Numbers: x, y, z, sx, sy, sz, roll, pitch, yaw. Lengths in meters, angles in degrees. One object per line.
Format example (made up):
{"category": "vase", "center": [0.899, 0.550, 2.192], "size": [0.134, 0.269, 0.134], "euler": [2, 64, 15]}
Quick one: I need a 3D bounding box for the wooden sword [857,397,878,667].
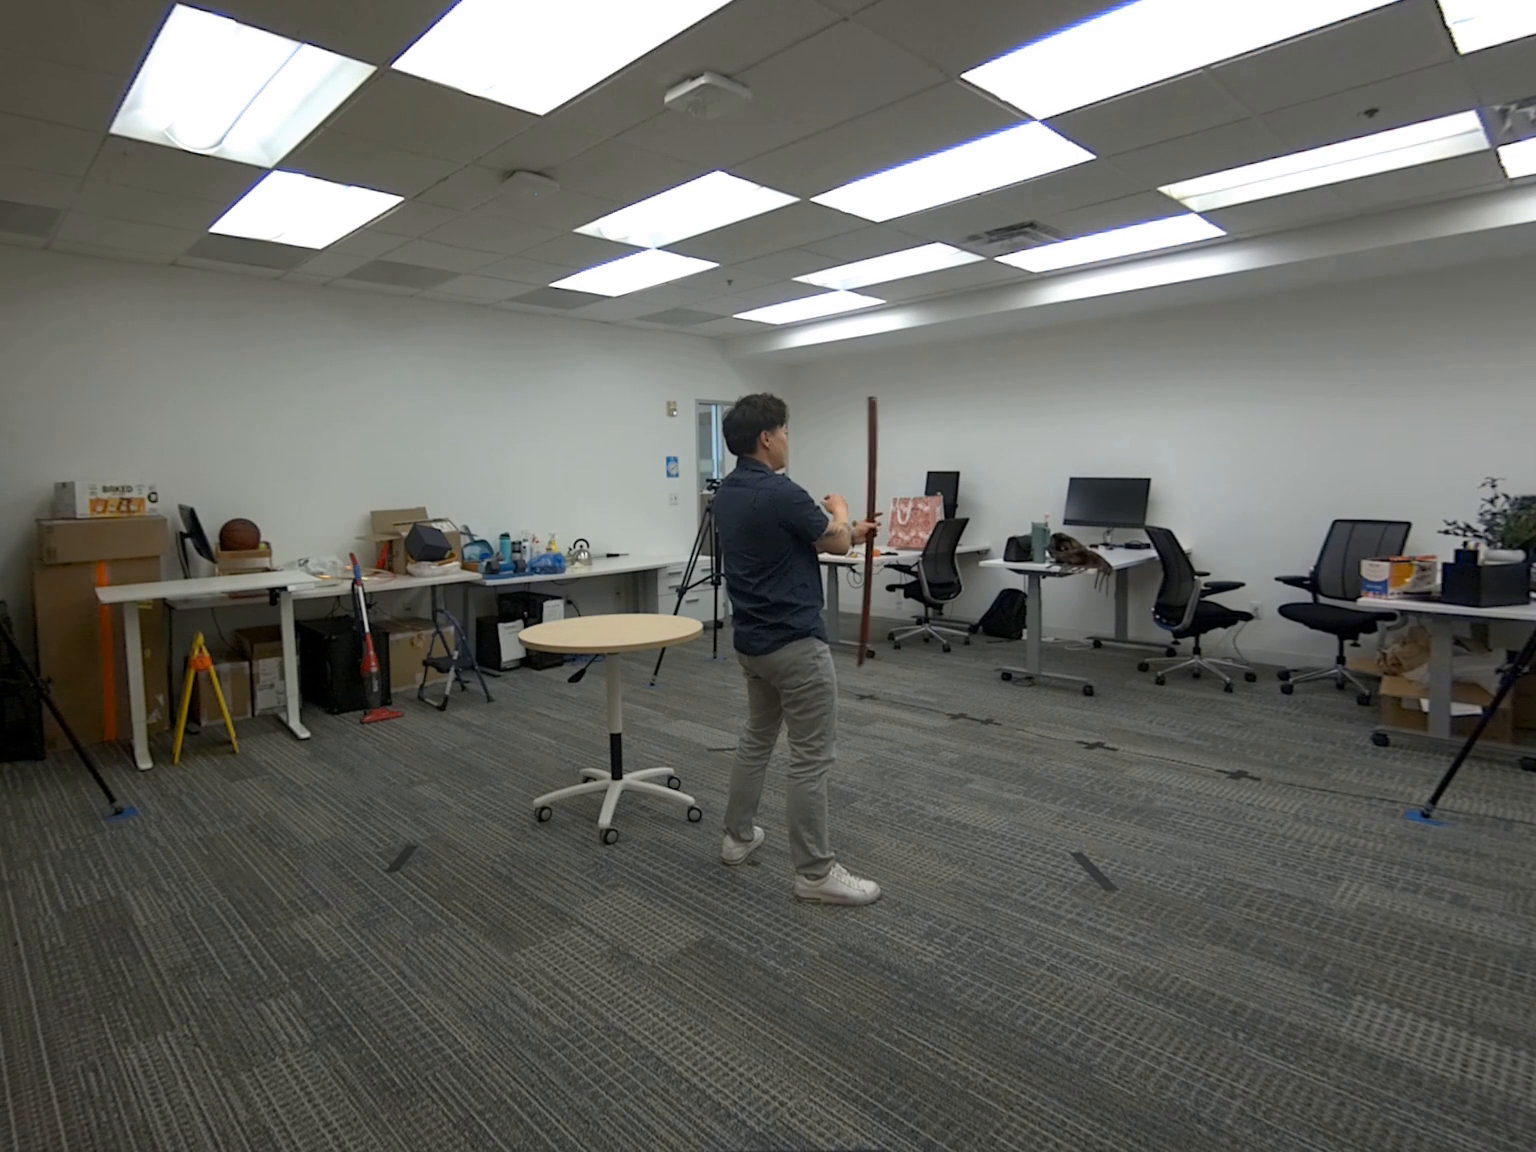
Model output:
{"category": "wooden sword", "center": [0.383, -0.170, 3.207], "size": [0.050, 1.017, 0.025], "euler": [-4, 9, -24]}
